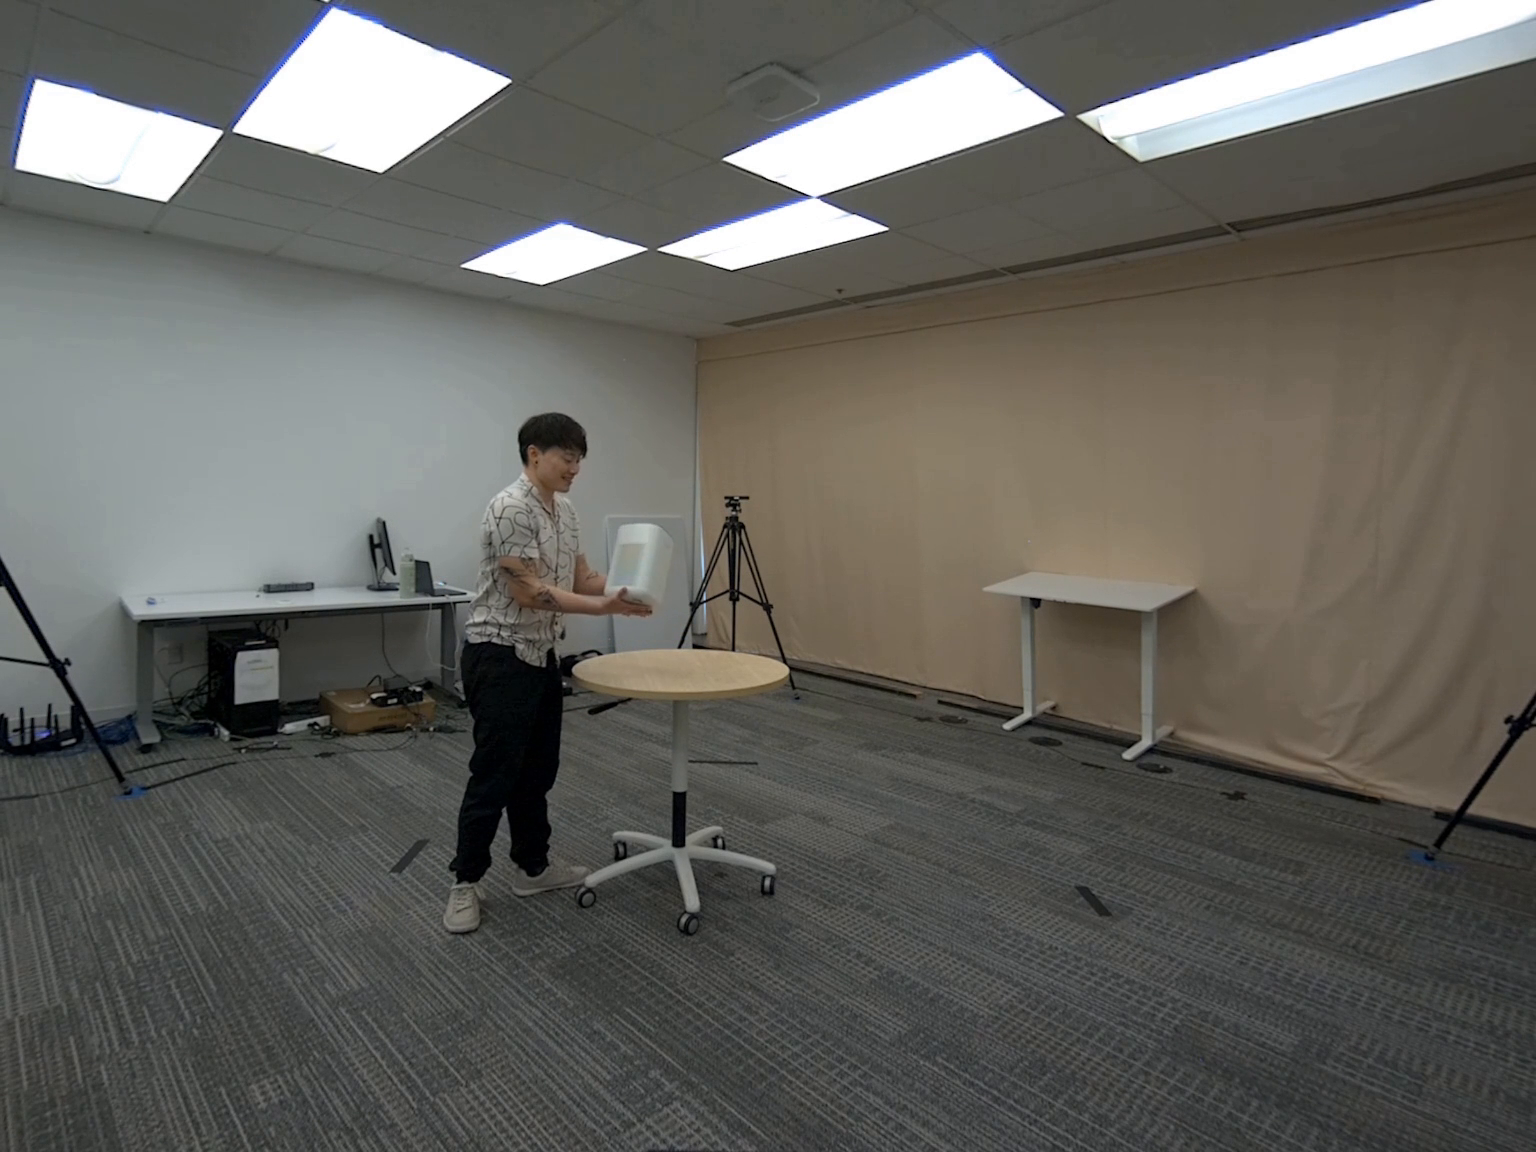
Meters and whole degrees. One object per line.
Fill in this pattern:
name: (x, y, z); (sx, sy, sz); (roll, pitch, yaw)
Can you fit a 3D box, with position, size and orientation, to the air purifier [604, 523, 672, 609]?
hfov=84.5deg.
air purifier: (-0.441, -0.025, 2.804); (0.174, 0.269, 0.166); (-2, -27, 23)
